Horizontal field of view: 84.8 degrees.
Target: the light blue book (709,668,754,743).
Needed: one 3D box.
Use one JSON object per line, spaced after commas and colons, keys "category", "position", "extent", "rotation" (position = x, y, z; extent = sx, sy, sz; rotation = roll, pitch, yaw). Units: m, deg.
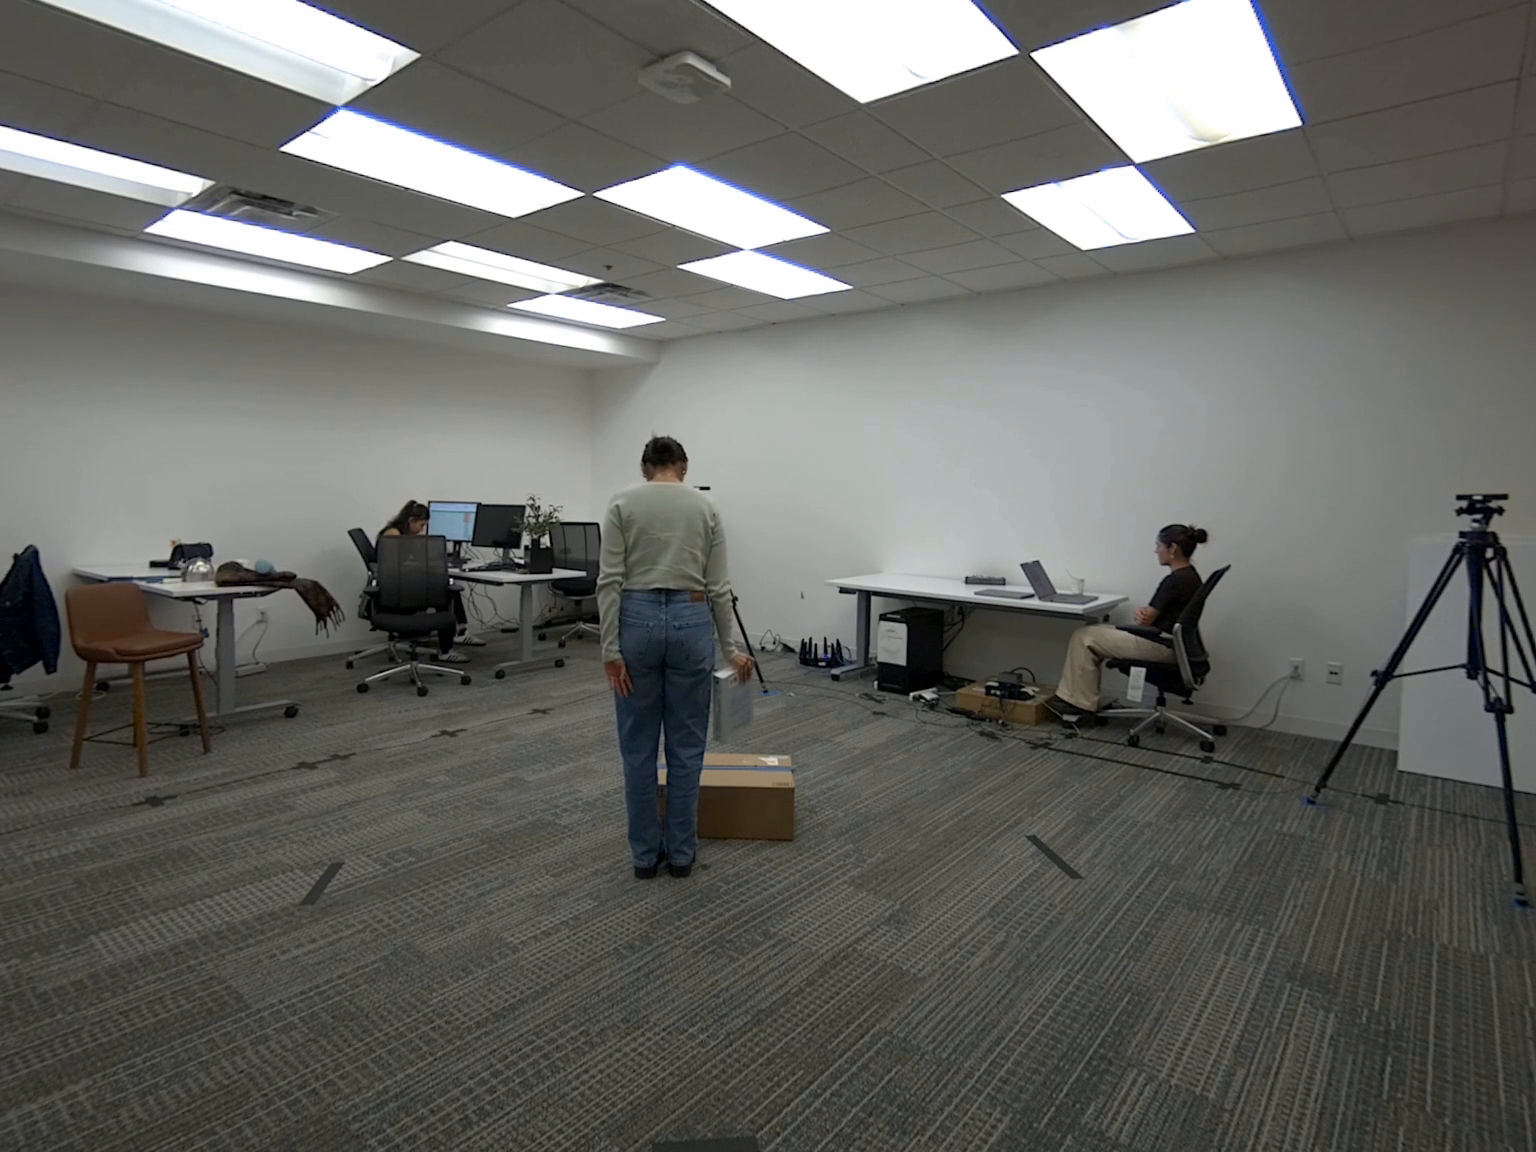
{"category": "light blue book", "position": [-0.142, 0.461, 3.149], "extent": [0.061, 0.257, 0.188], "rotation": [8, 17, 32]}
